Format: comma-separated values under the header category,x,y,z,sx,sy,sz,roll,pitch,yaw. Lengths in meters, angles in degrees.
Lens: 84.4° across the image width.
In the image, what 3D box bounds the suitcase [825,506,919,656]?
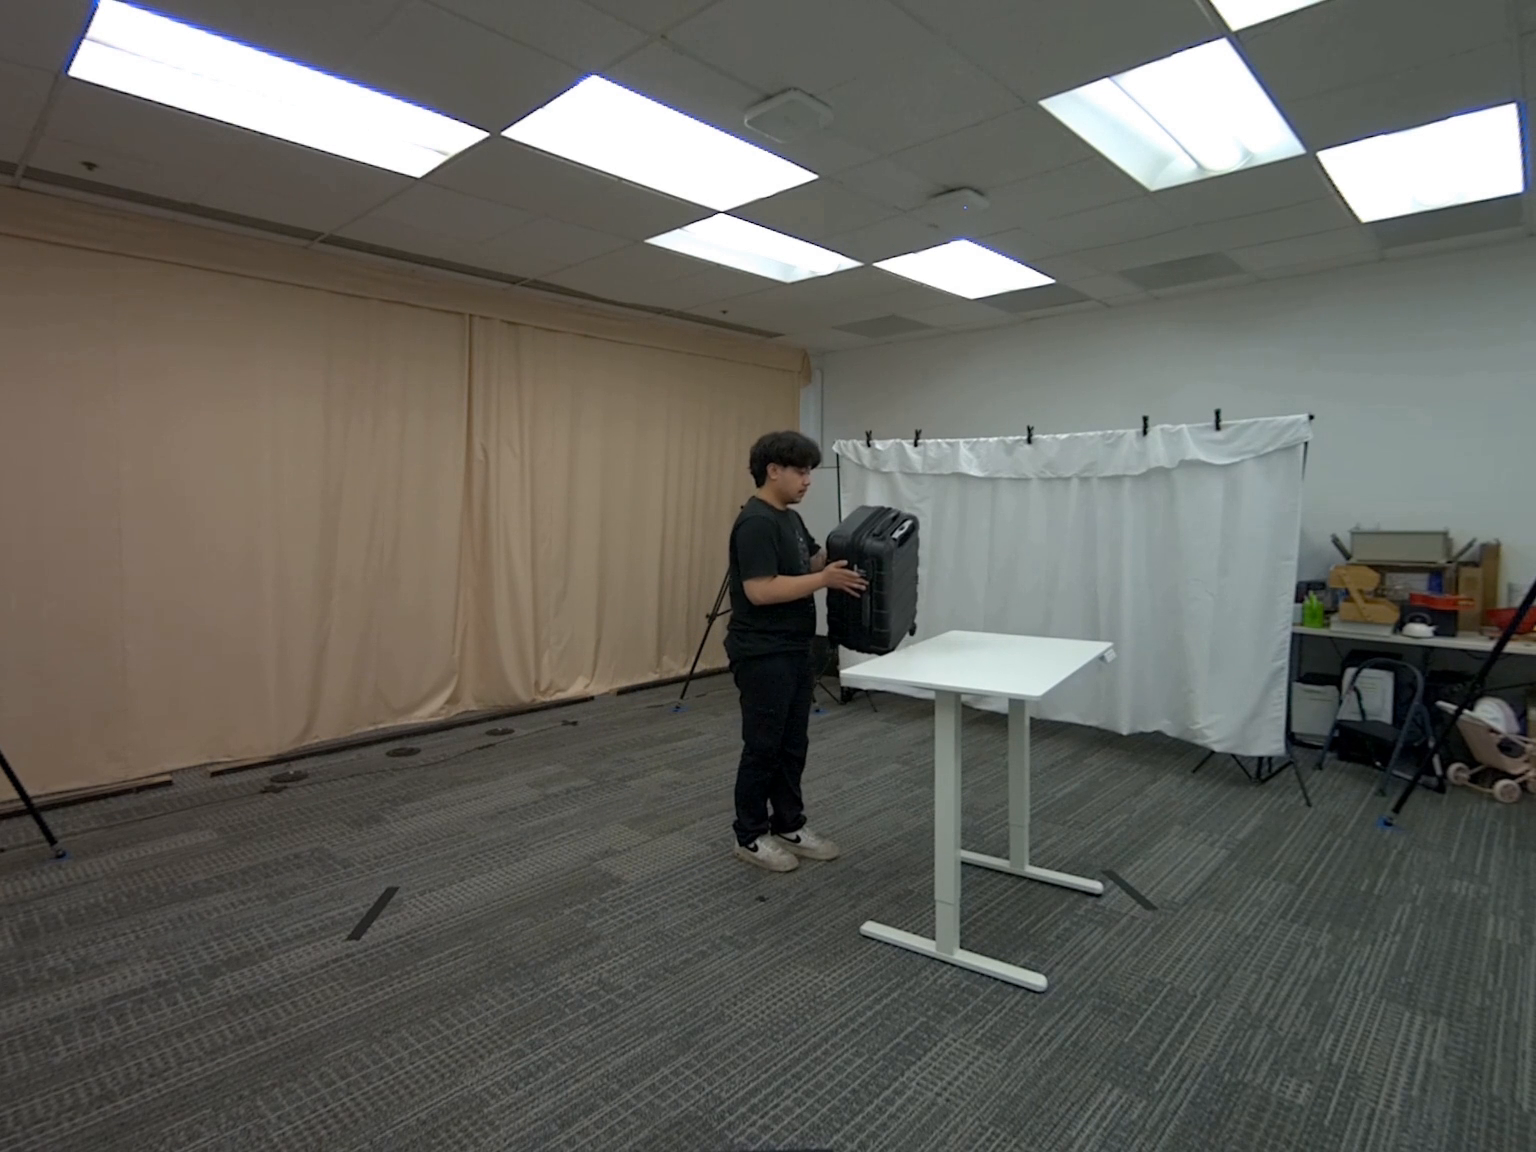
category,x,y,z,sx,sy,sz,roll,pitch,yaw
suitcase,0.406,0.027,3.206,0.256,0.539,0.371,13,33,27
